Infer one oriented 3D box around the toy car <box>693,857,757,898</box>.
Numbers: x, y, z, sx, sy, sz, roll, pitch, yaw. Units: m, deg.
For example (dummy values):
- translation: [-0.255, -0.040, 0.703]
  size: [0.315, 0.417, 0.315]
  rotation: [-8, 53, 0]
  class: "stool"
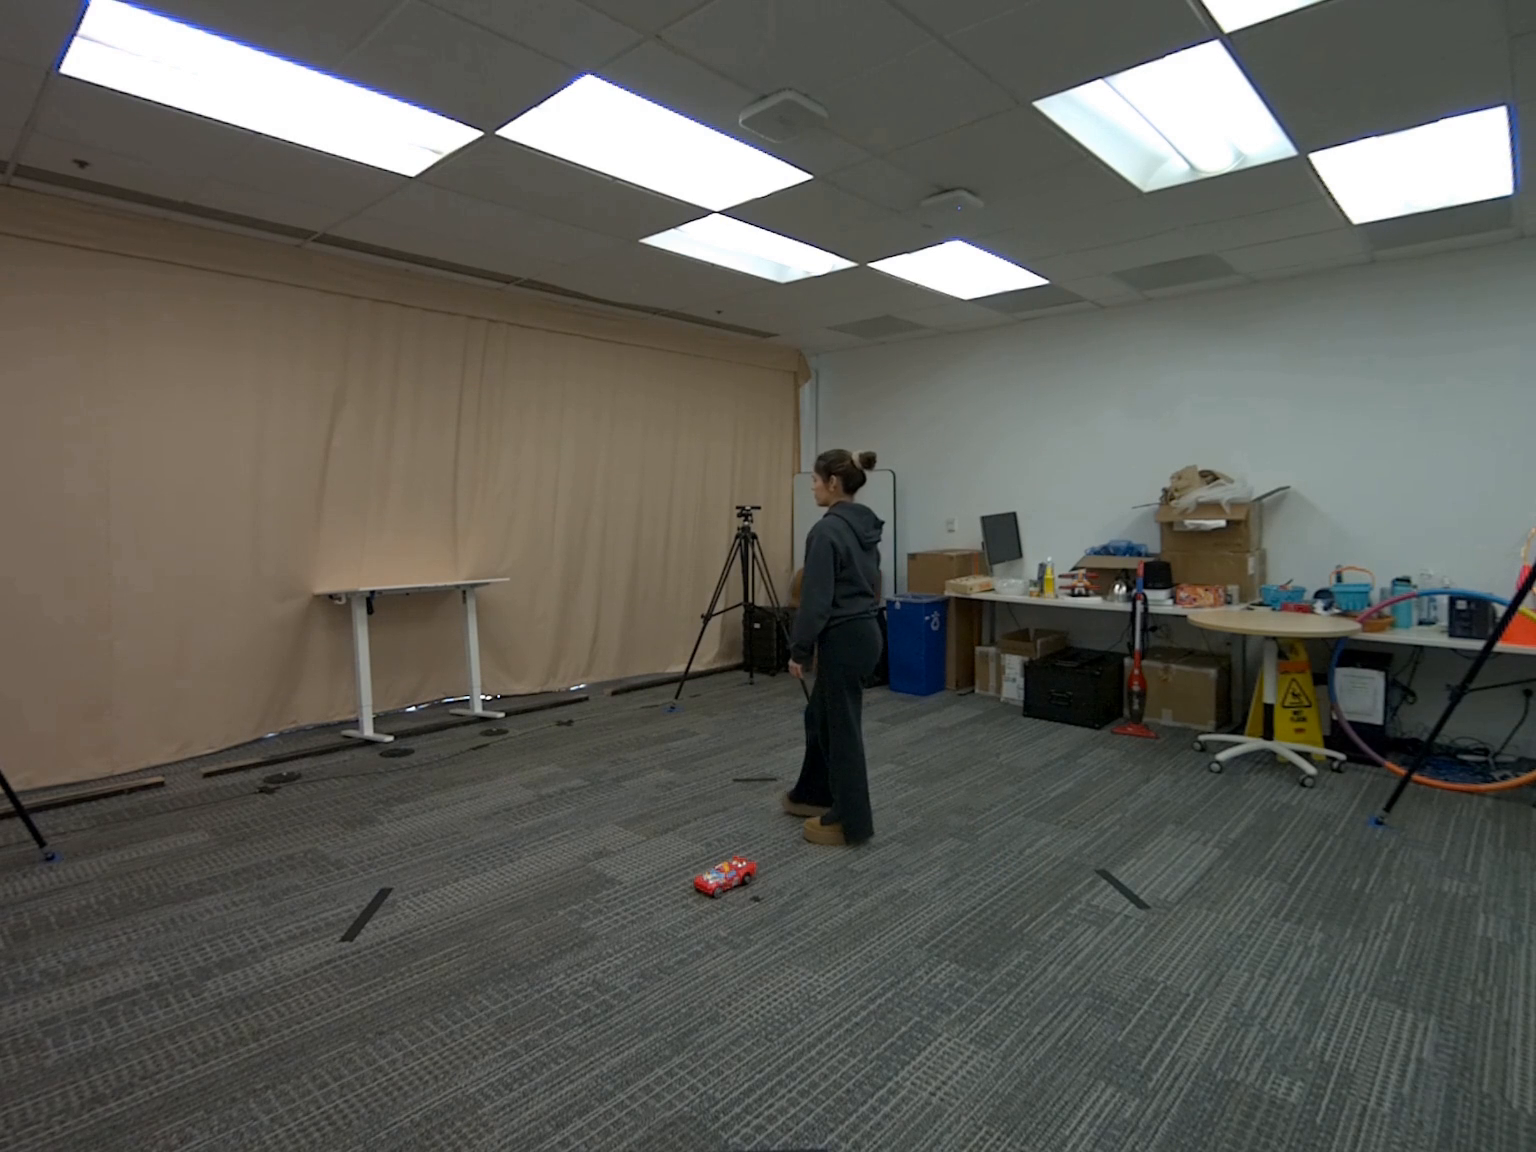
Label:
- translation: [-0.129, 1.102, 3.089]
  size: [0.248, 0.082, 0.134]
  rotation: [-20, 16, -42]
  class: "toy car"
